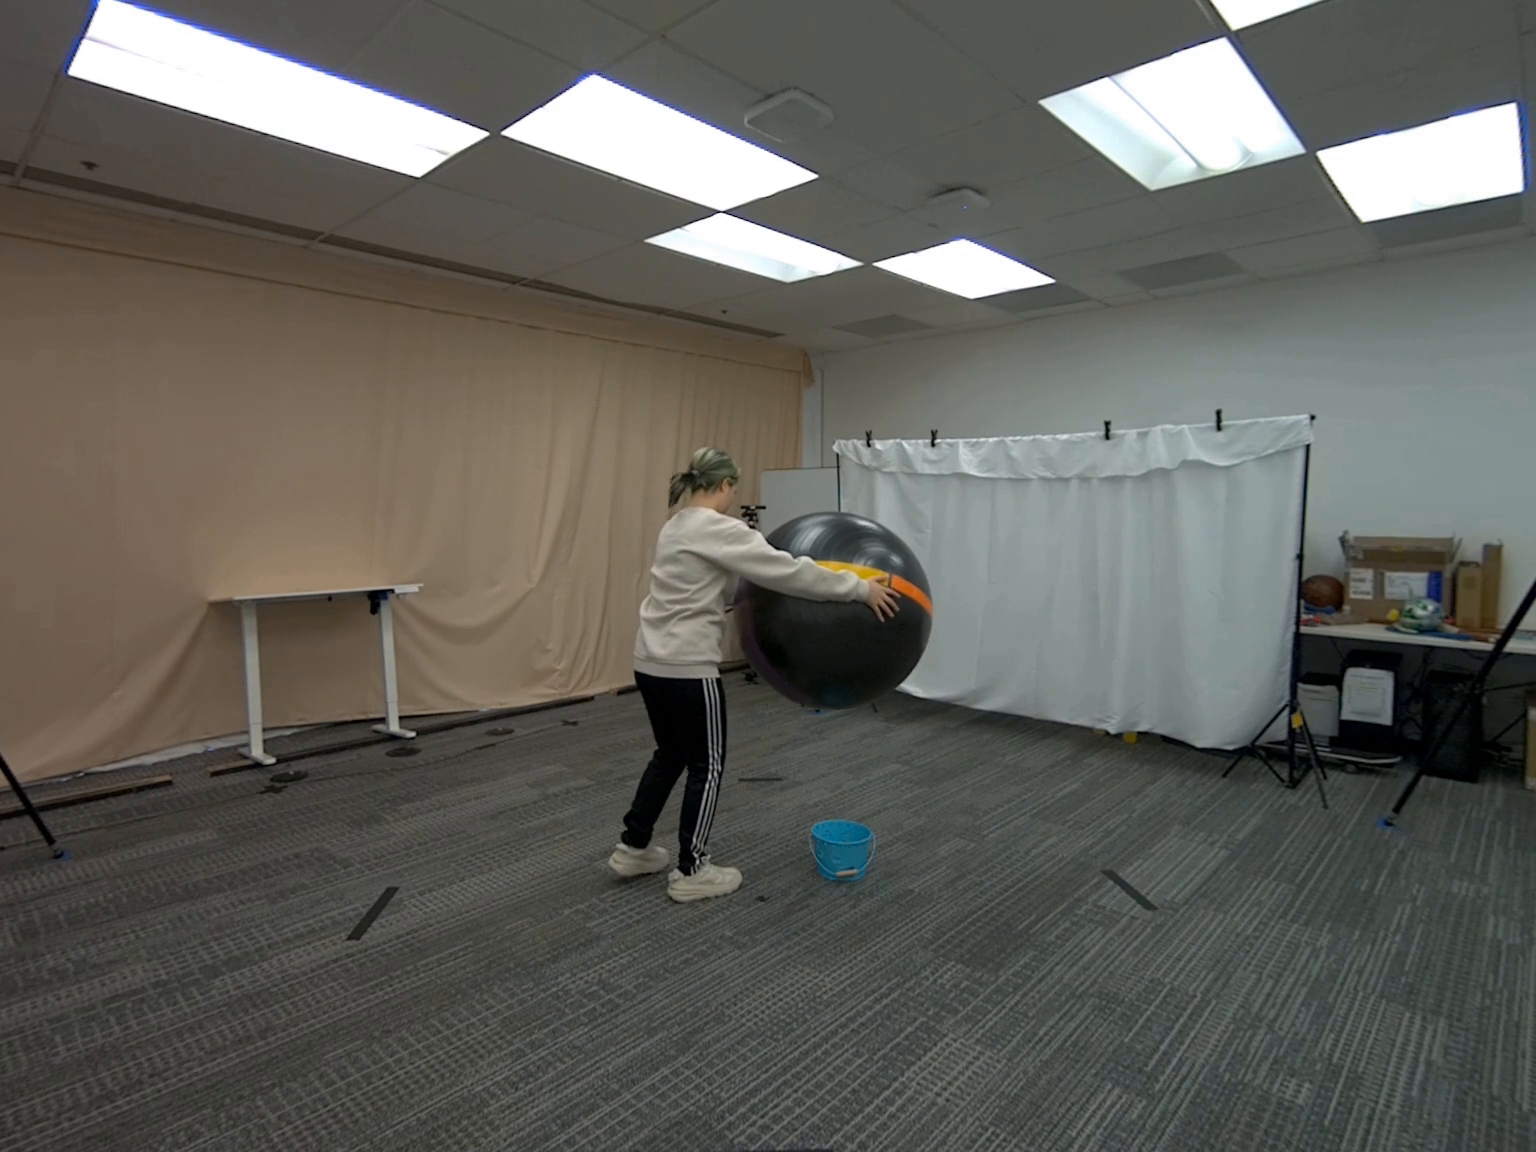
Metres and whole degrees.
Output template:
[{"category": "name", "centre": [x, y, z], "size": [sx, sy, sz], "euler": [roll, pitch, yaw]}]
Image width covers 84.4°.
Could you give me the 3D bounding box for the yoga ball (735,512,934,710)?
[{"category": "yoga ball", "centre": [0.256, 0.132, 3.260], "size": [0.757, 0.756, 0.761], "euler": [0, 4, -2]}]
